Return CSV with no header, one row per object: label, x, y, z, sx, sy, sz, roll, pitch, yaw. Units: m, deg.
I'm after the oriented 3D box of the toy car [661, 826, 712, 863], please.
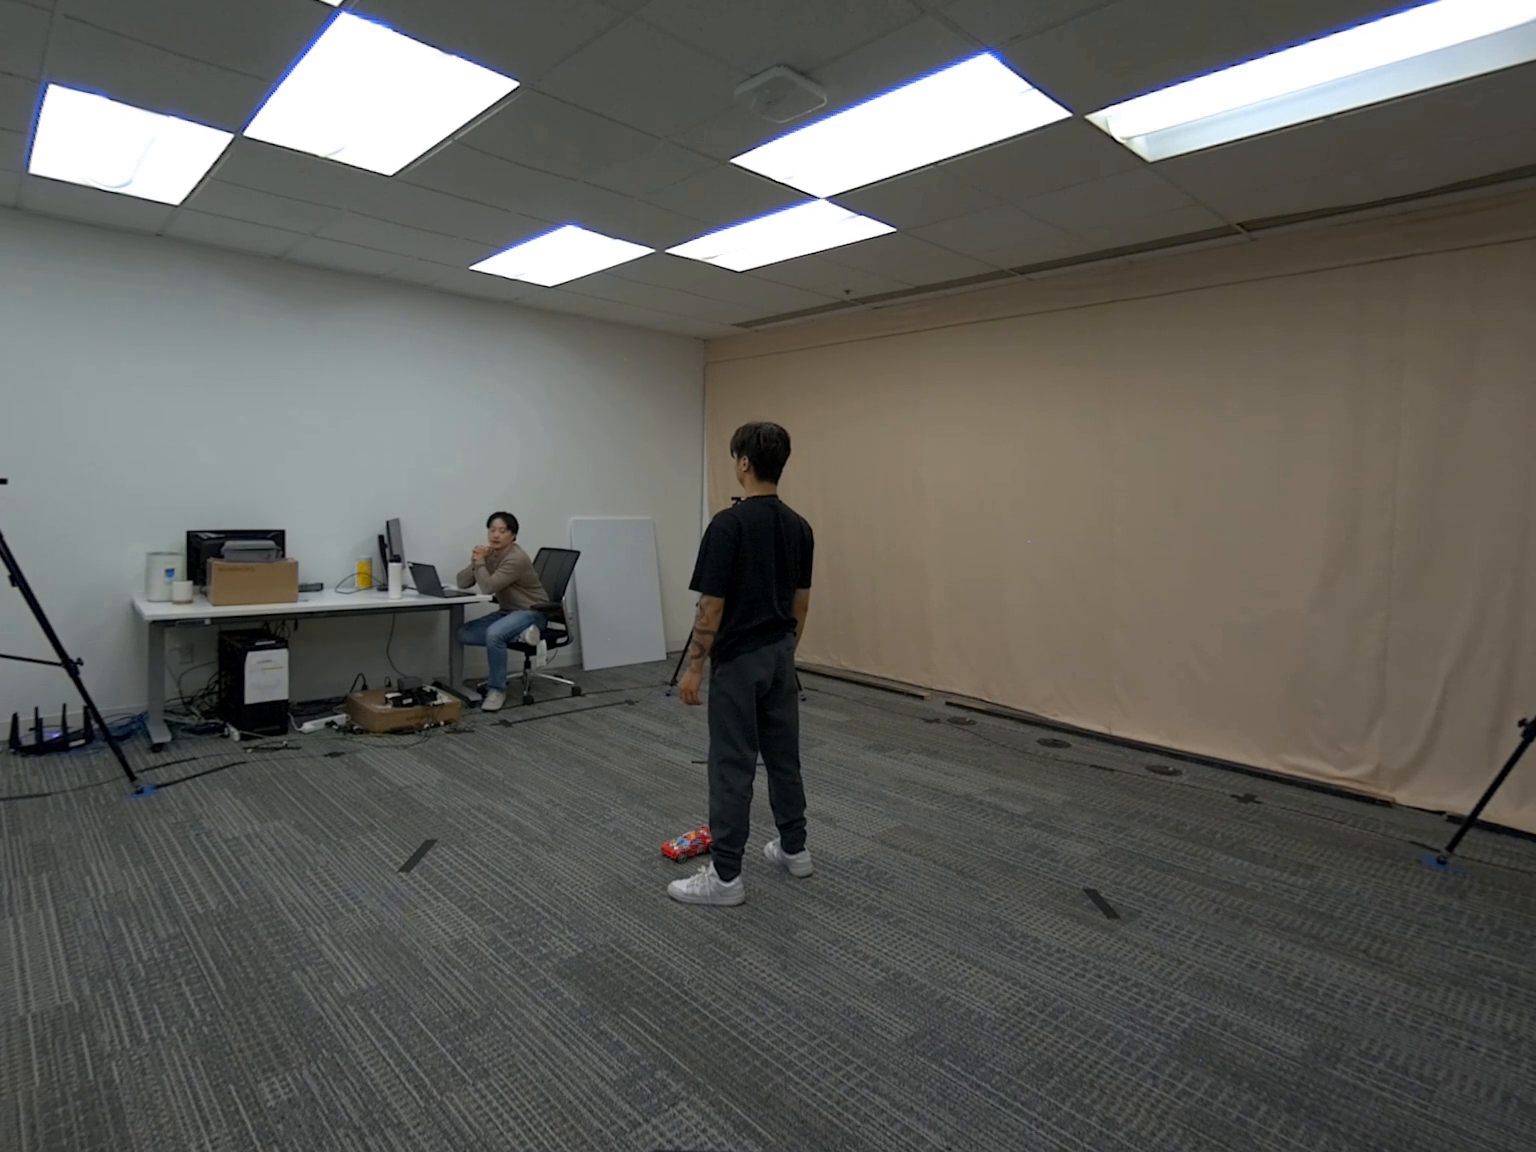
toy car,-0.302,1.056,3.306,0.250,0.082,0.133,-17,15,-38
